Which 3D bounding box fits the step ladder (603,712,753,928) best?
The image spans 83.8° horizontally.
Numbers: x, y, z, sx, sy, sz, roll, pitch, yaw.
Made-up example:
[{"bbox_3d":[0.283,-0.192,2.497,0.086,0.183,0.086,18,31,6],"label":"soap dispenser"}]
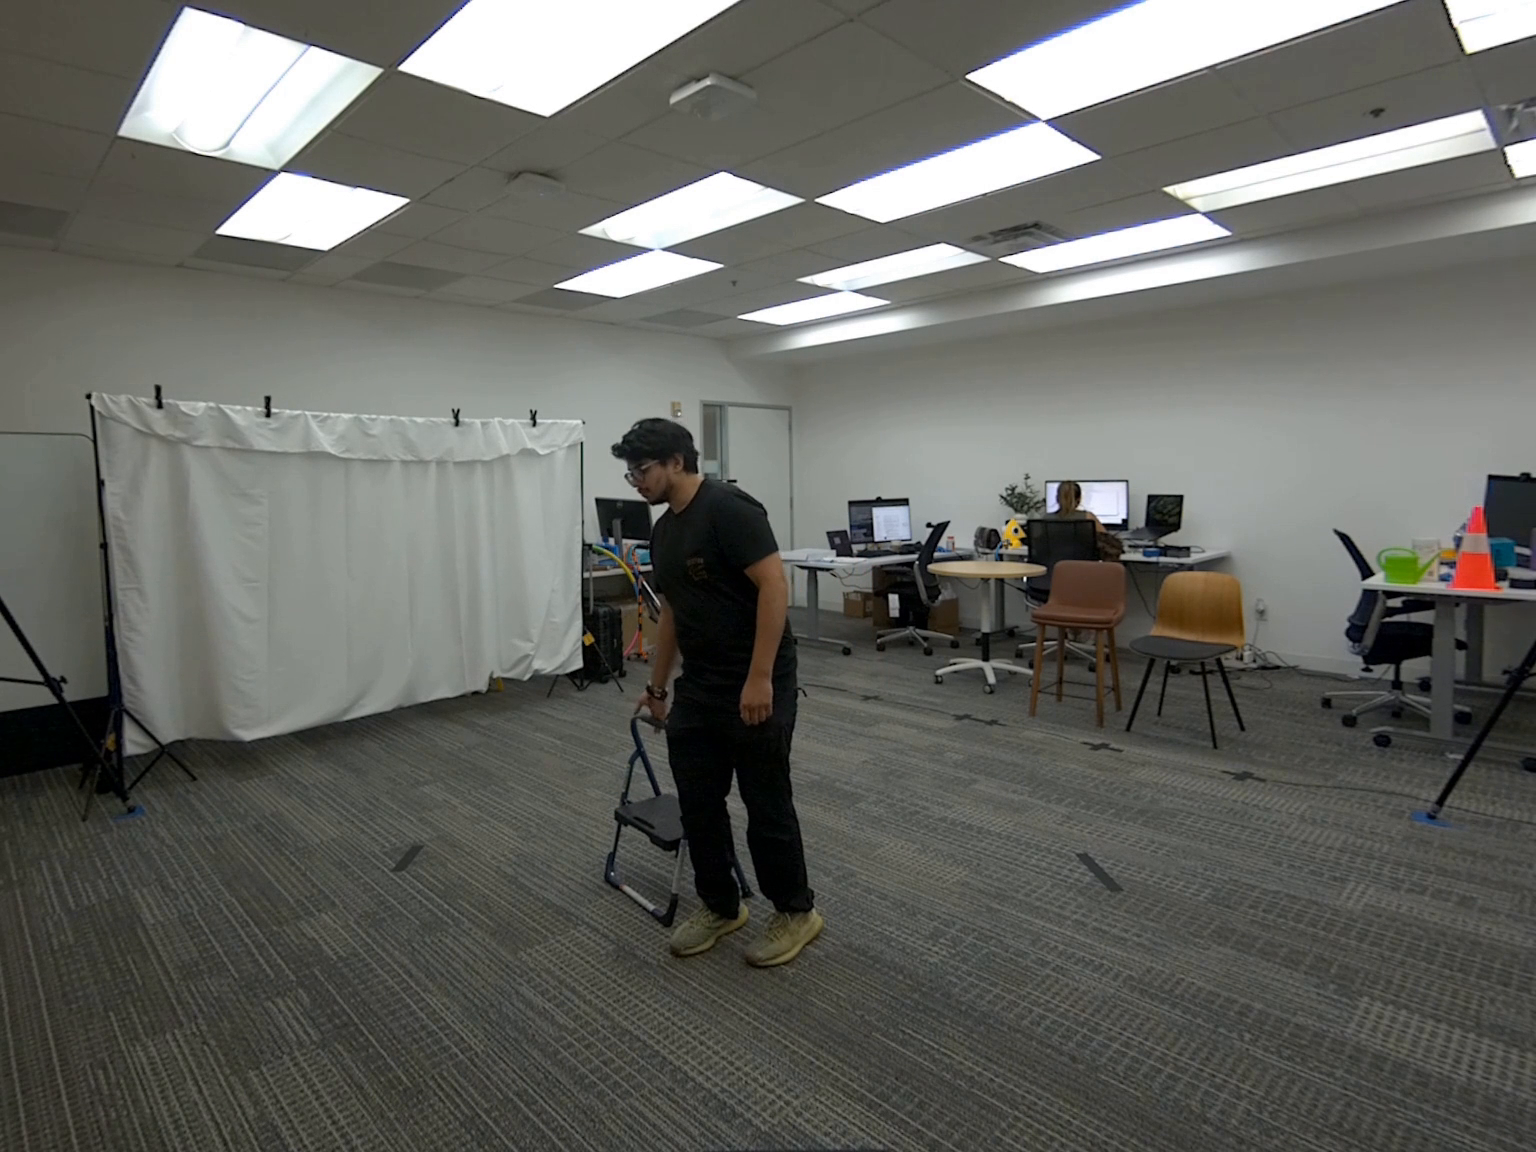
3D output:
[{"bbox_3d":[-0.319,0.770,2.922,0.340,0.604,0.444,-4,6,-39],"label":"step ladder"}]
